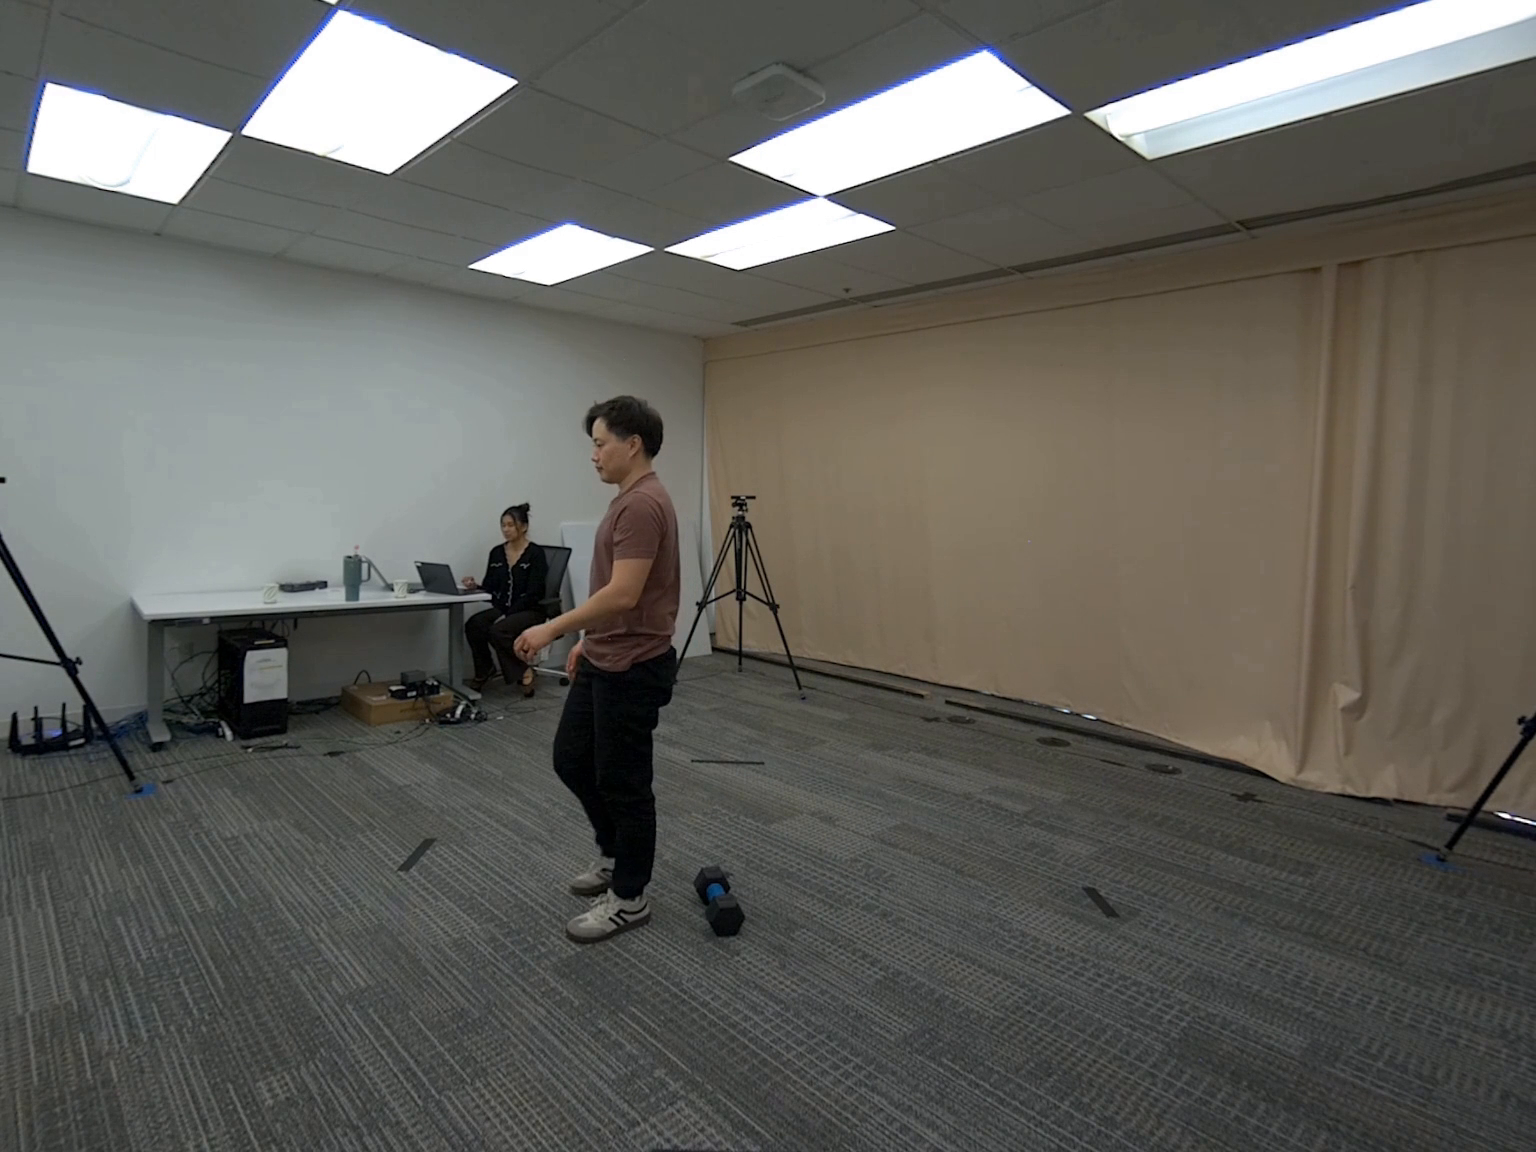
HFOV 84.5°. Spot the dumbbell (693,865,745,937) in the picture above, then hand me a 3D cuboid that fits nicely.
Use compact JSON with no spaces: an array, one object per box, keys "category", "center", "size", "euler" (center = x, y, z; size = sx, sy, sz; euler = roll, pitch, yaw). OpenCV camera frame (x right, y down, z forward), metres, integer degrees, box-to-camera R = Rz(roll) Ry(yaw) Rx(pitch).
[{"category":"dumbbell","center":[-0.173,1.077,2.793],"size":[0.122,0.108,0.297],"euler":[-1,6,-13]}]
